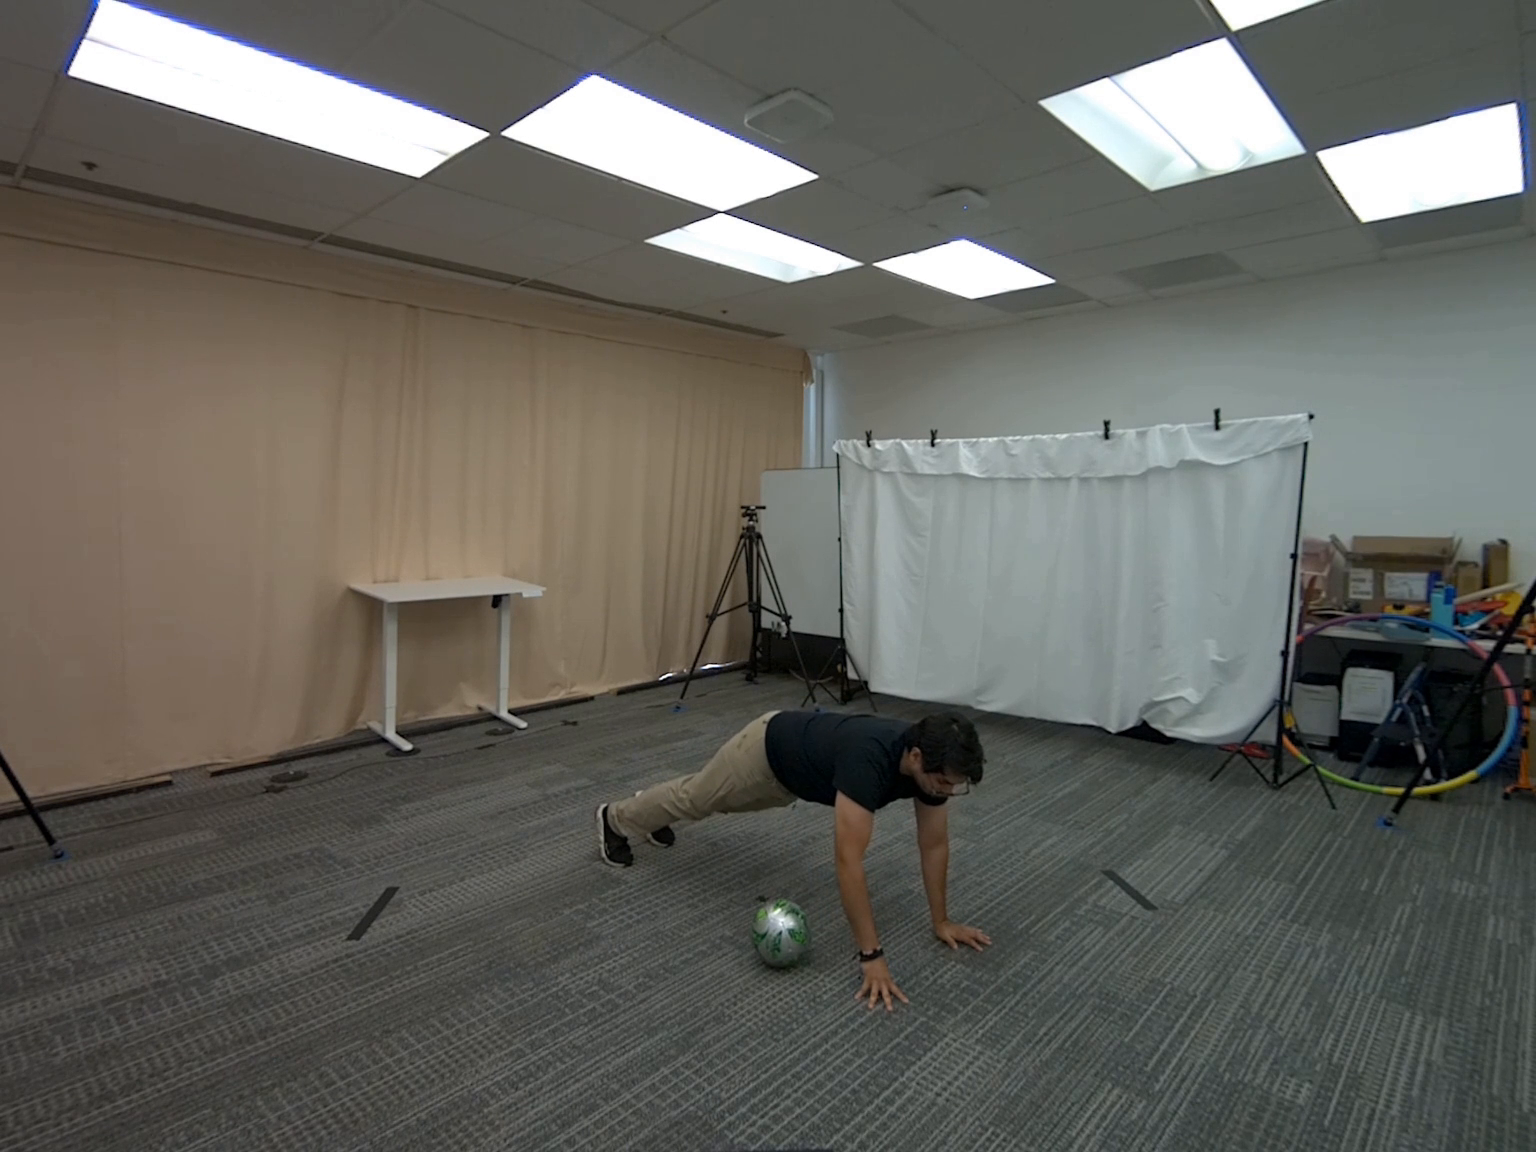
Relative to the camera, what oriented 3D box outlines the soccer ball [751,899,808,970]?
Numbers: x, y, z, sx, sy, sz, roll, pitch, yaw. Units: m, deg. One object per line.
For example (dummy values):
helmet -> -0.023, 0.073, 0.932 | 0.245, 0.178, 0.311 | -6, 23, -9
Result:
soccer ball -> 0.032, 1.084, 2.566 | 0.187, 0.187, 0.188 | 0, 4, -2
